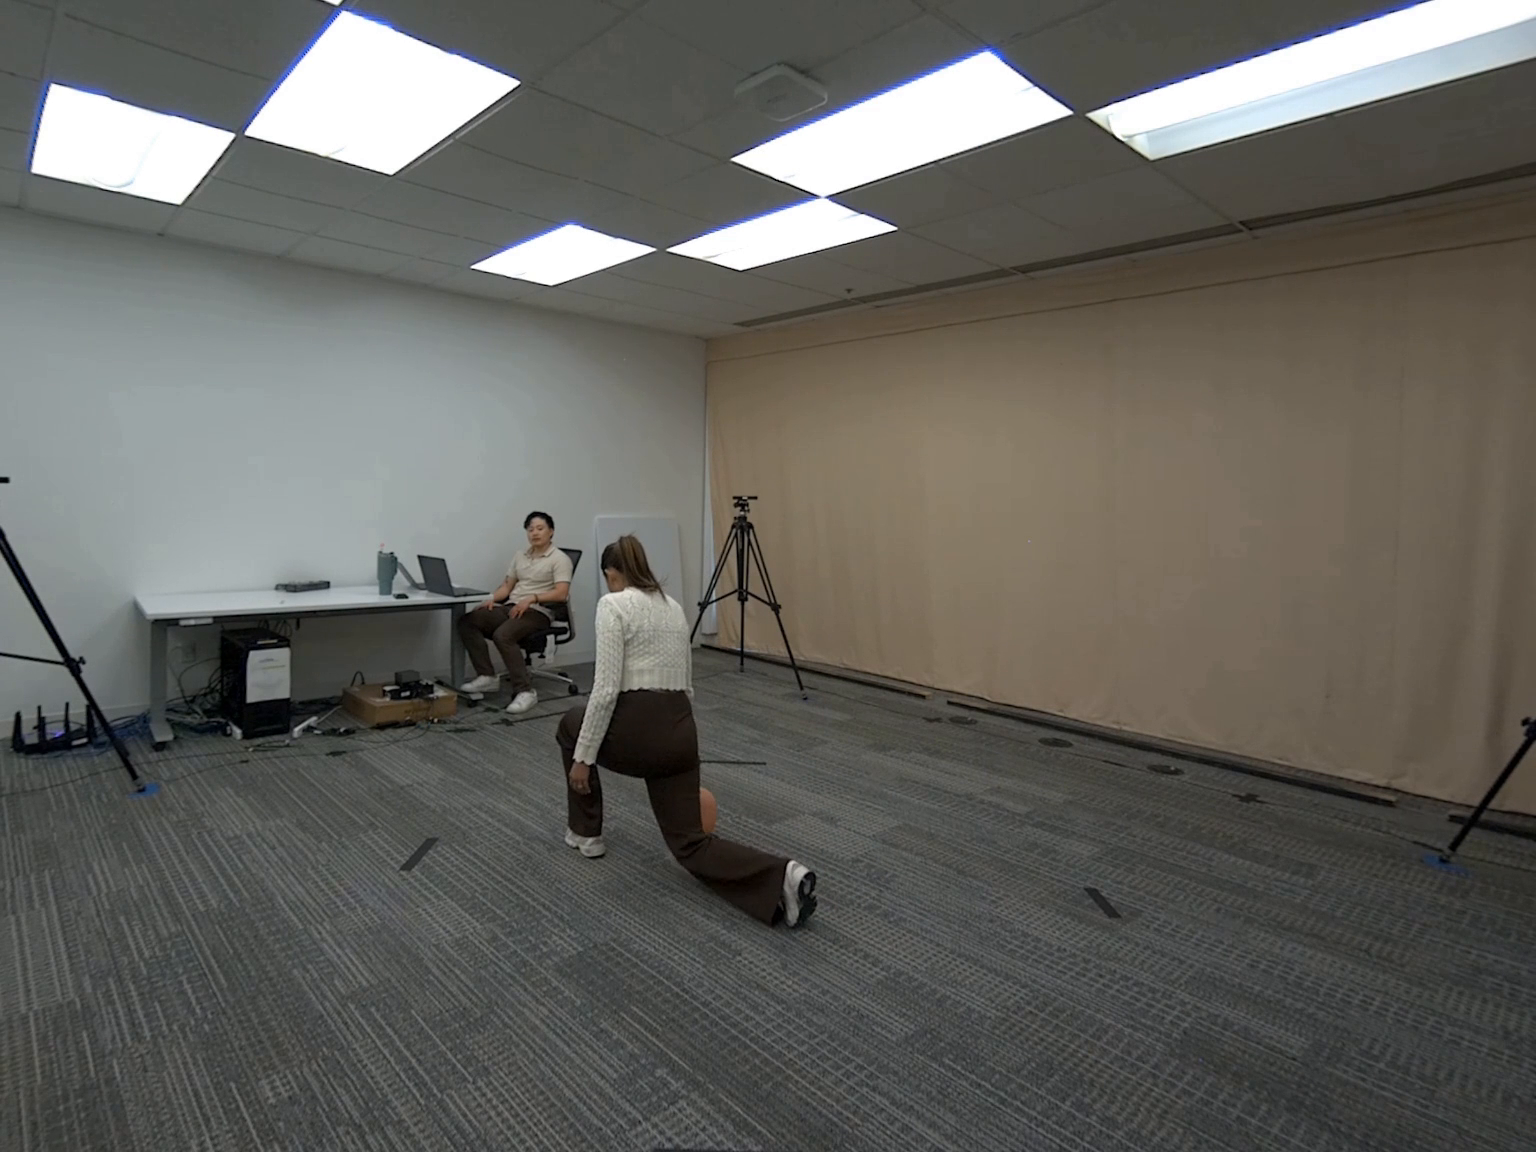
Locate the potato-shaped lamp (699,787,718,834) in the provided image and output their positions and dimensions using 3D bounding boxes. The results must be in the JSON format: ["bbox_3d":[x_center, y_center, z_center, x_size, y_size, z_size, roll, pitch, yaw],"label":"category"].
[{"bbox_3d":[-0.310,0.966,3.458,0.170,0.198,0.166,1,2,-9],"label":"potato-shaped lamp"}]
